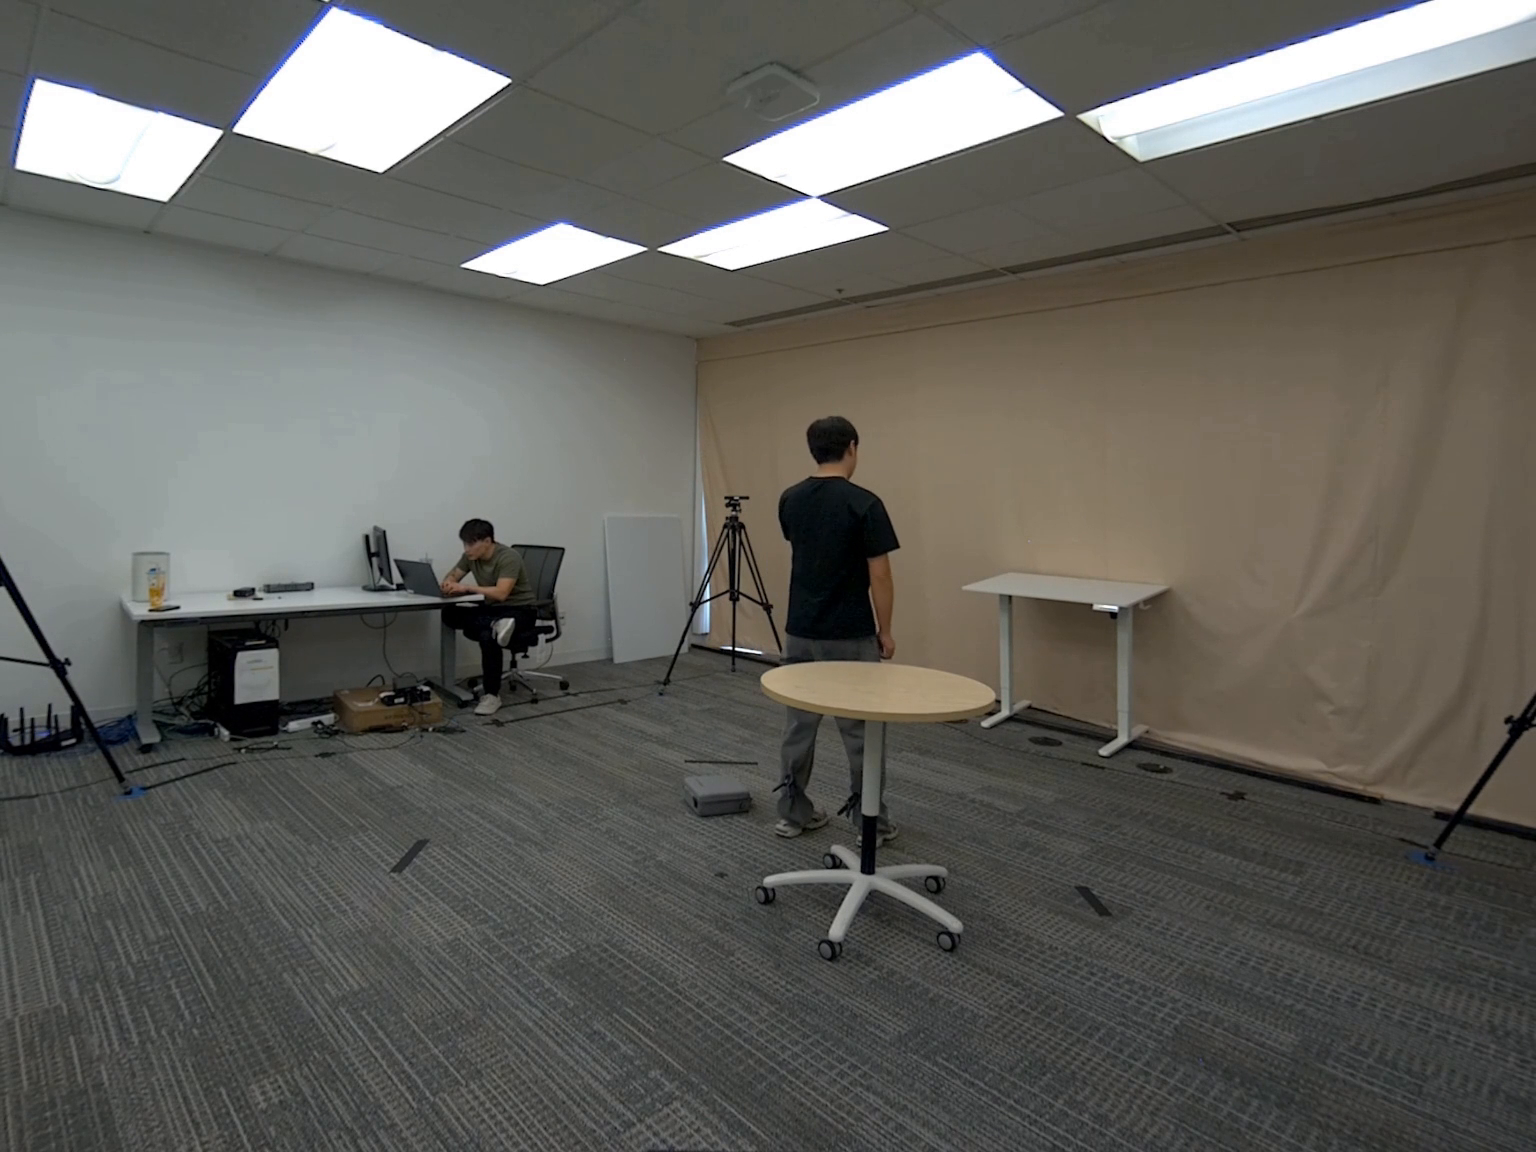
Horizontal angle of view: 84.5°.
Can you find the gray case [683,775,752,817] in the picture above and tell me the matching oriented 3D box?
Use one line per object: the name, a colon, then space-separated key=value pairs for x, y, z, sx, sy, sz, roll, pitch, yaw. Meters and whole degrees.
gray case: x=-0.234 y=0.987 z=3.814 sx=0.283 sy=0.103 sz=0.268 roll=0 pitch=5 yaw=-21
